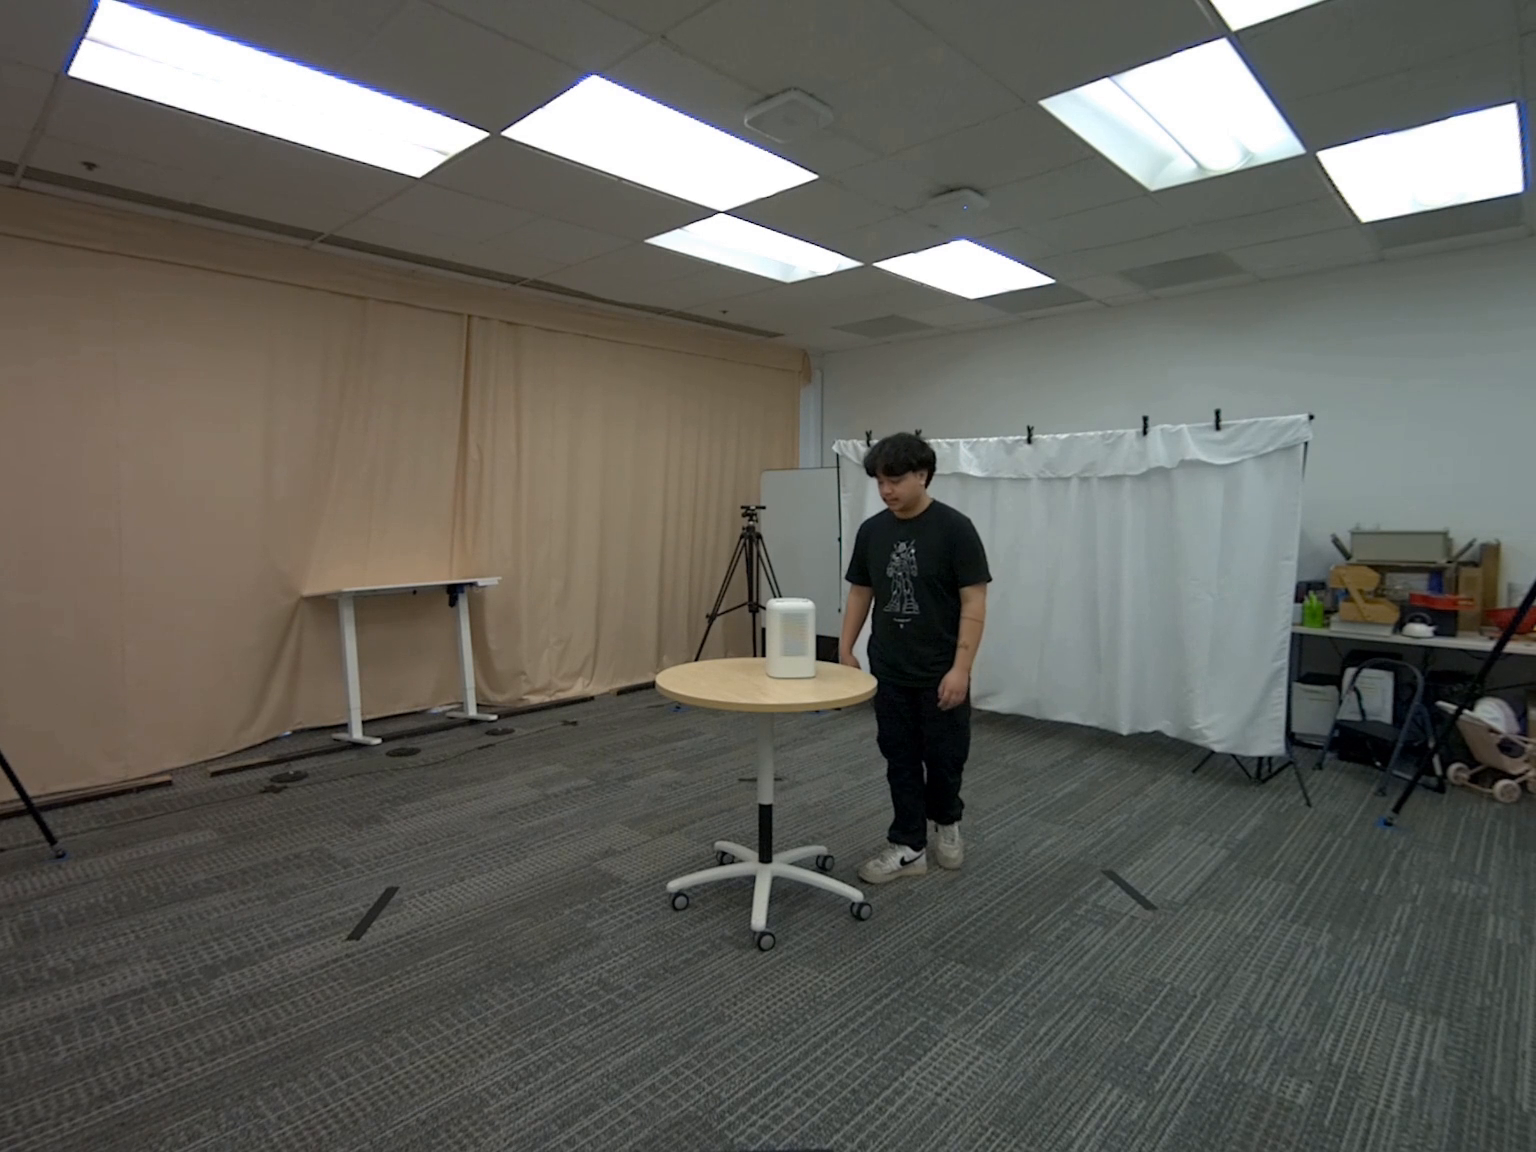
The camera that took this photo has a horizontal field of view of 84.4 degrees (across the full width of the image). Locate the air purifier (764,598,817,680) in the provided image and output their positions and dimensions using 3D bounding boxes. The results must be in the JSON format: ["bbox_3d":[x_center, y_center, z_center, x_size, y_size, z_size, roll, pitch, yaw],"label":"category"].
[{"bbox_3d":[0.092,0.223,2.989,0.171,0.265,0.172,1,4,-2],"label":"air purifier"}]
